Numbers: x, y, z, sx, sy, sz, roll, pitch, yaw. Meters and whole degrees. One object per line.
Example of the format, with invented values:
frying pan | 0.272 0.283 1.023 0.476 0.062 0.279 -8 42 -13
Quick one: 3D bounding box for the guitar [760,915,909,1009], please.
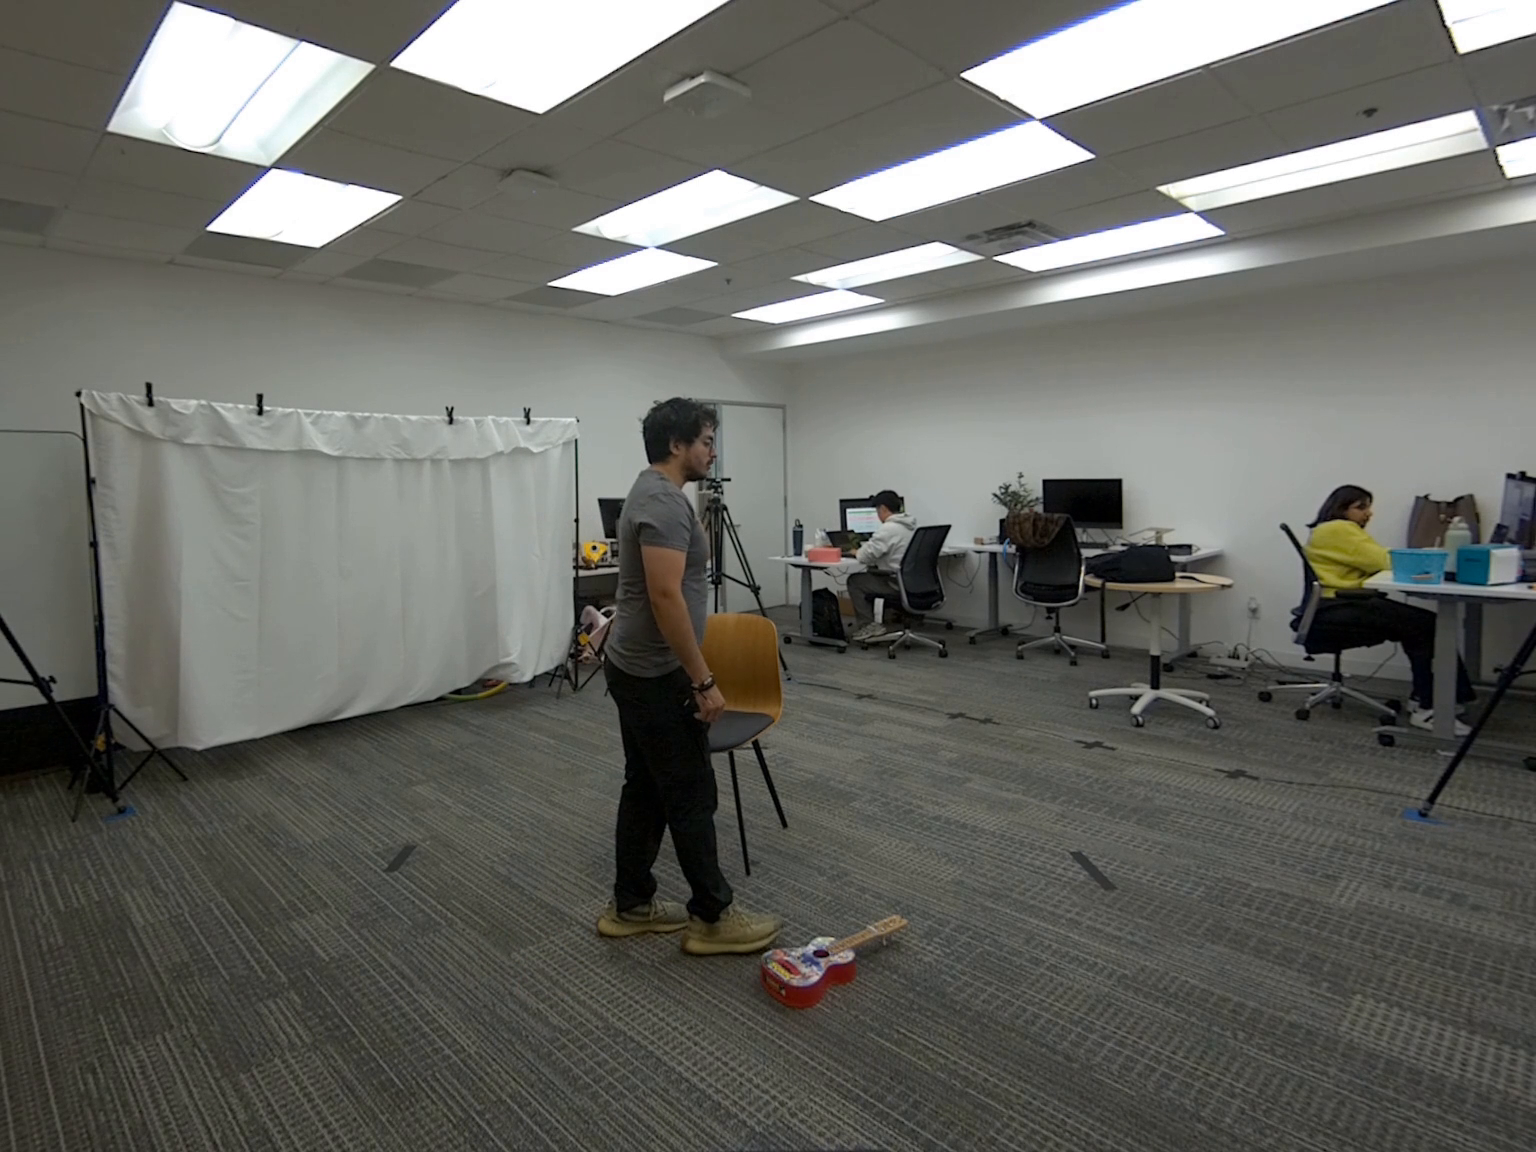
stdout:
guitar | 0.227 1.084 2.416 0.487 0.070 0.198 -4 6 -25
